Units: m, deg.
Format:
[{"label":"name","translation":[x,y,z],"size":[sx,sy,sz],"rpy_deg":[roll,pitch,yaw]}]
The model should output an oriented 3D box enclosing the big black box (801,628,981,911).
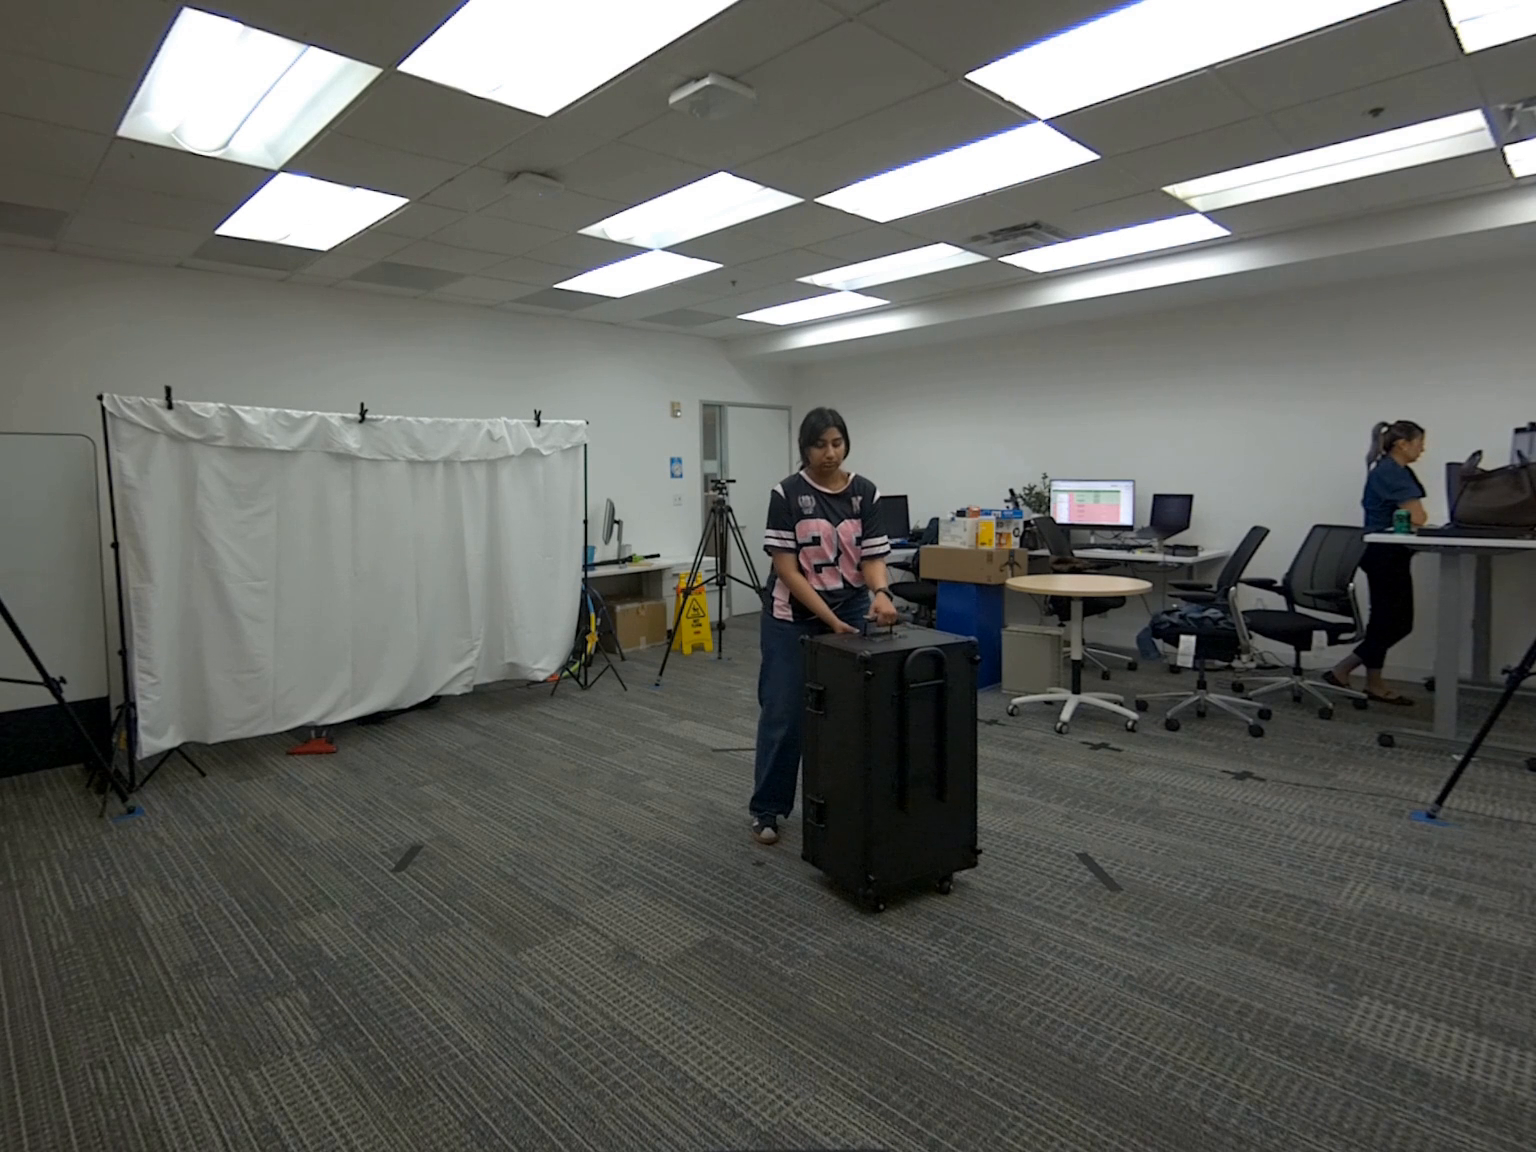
[{"label":"big black box","translation":[0.426,0.638,2.919],"size":[0.511,0.865,0.396],"rpy_deg":[-3,4,-30]}]
